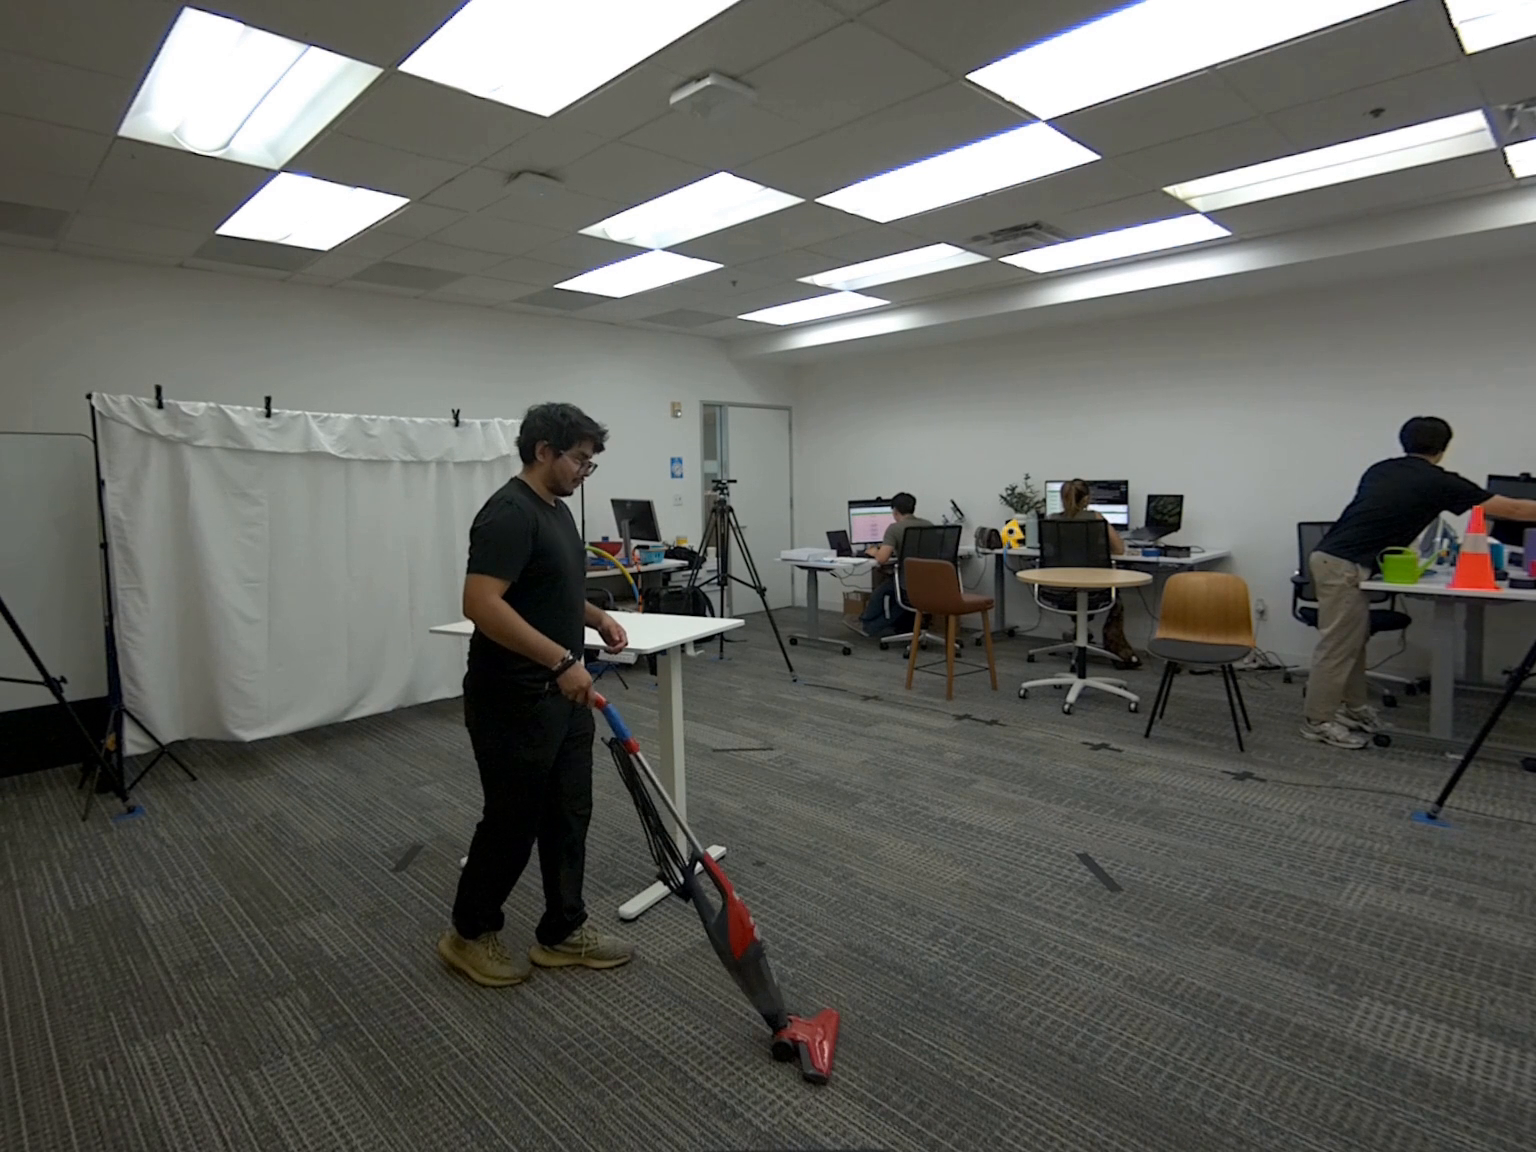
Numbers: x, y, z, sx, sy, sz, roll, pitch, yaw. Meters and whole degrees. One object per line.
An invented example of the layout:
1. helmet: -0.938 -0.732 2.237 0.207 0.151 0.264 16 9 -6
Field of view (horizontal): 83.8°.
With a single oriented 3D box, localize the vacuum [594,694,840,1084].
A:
1. vacuum: -0.193 0.707 2.162 0.144 1.058 0.250 -35 -6 9
